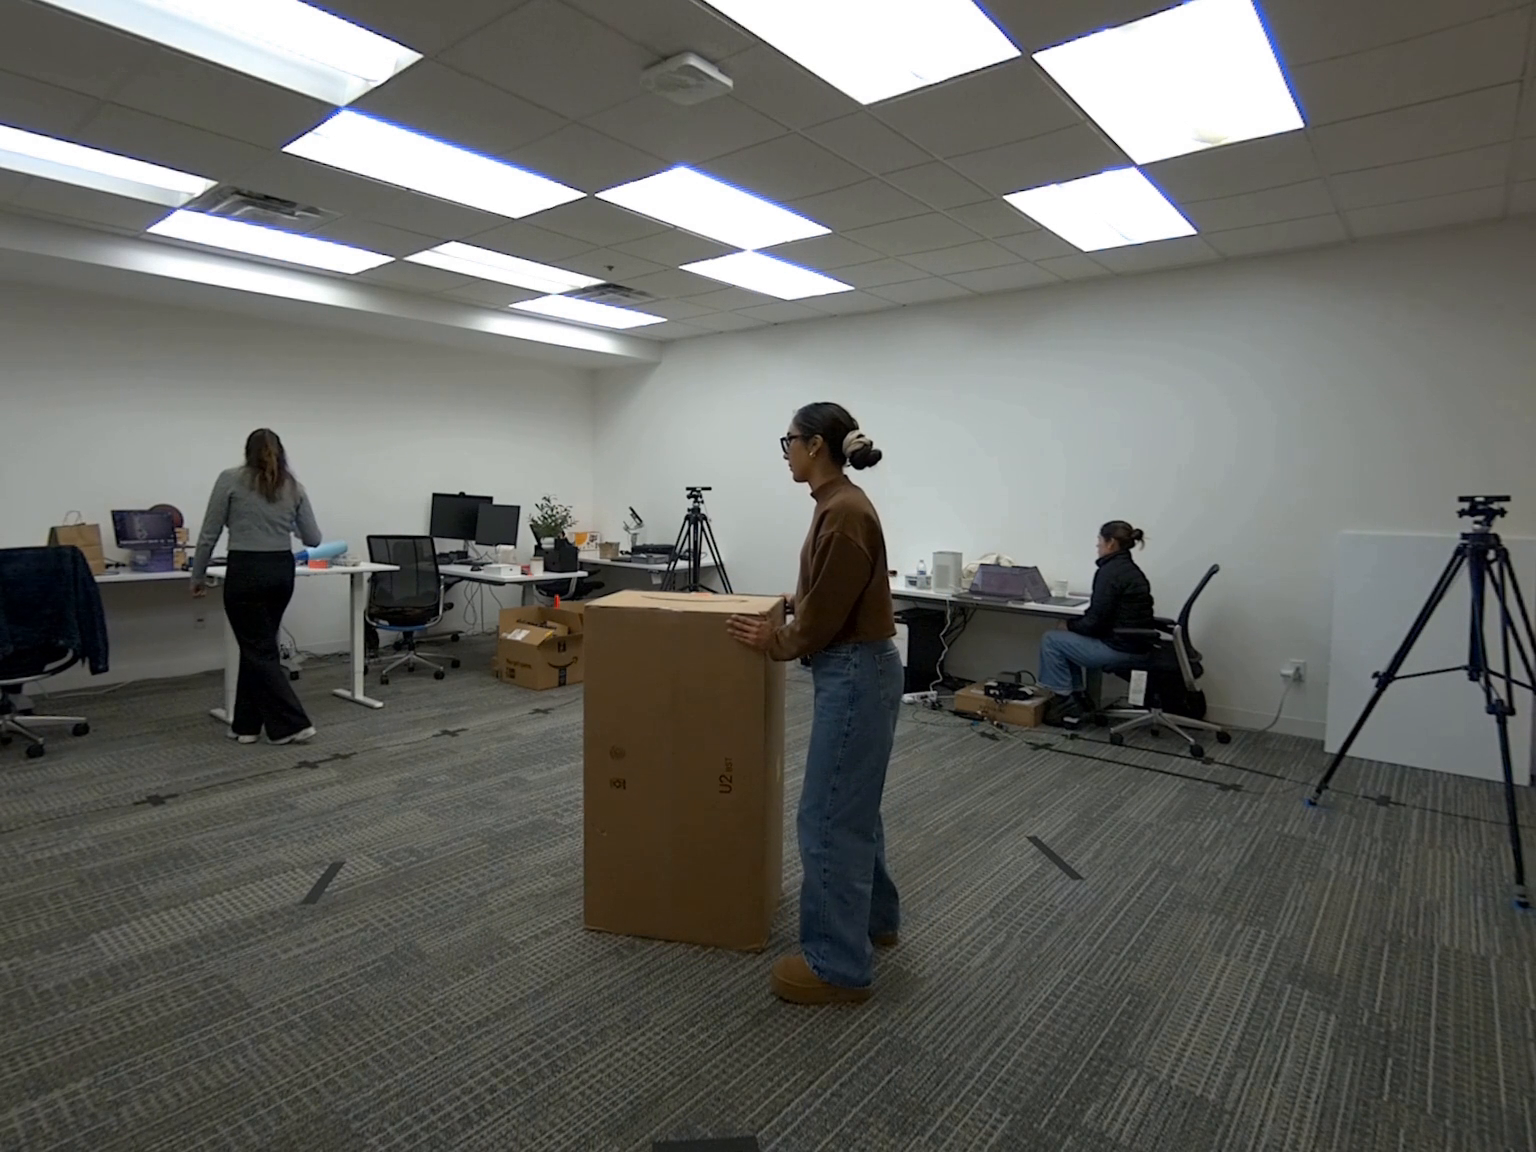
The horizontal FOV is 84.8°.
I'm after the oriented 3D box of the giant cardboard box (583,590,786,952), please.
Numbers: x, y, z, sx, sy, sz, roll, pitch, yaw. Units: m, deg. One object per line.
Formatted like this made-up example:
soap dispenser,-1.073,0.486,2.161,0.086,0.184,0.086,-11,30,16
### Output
giant cardboard box,-0.268,0.586,2.784,0.586,1.023,0.421,2,3,13
